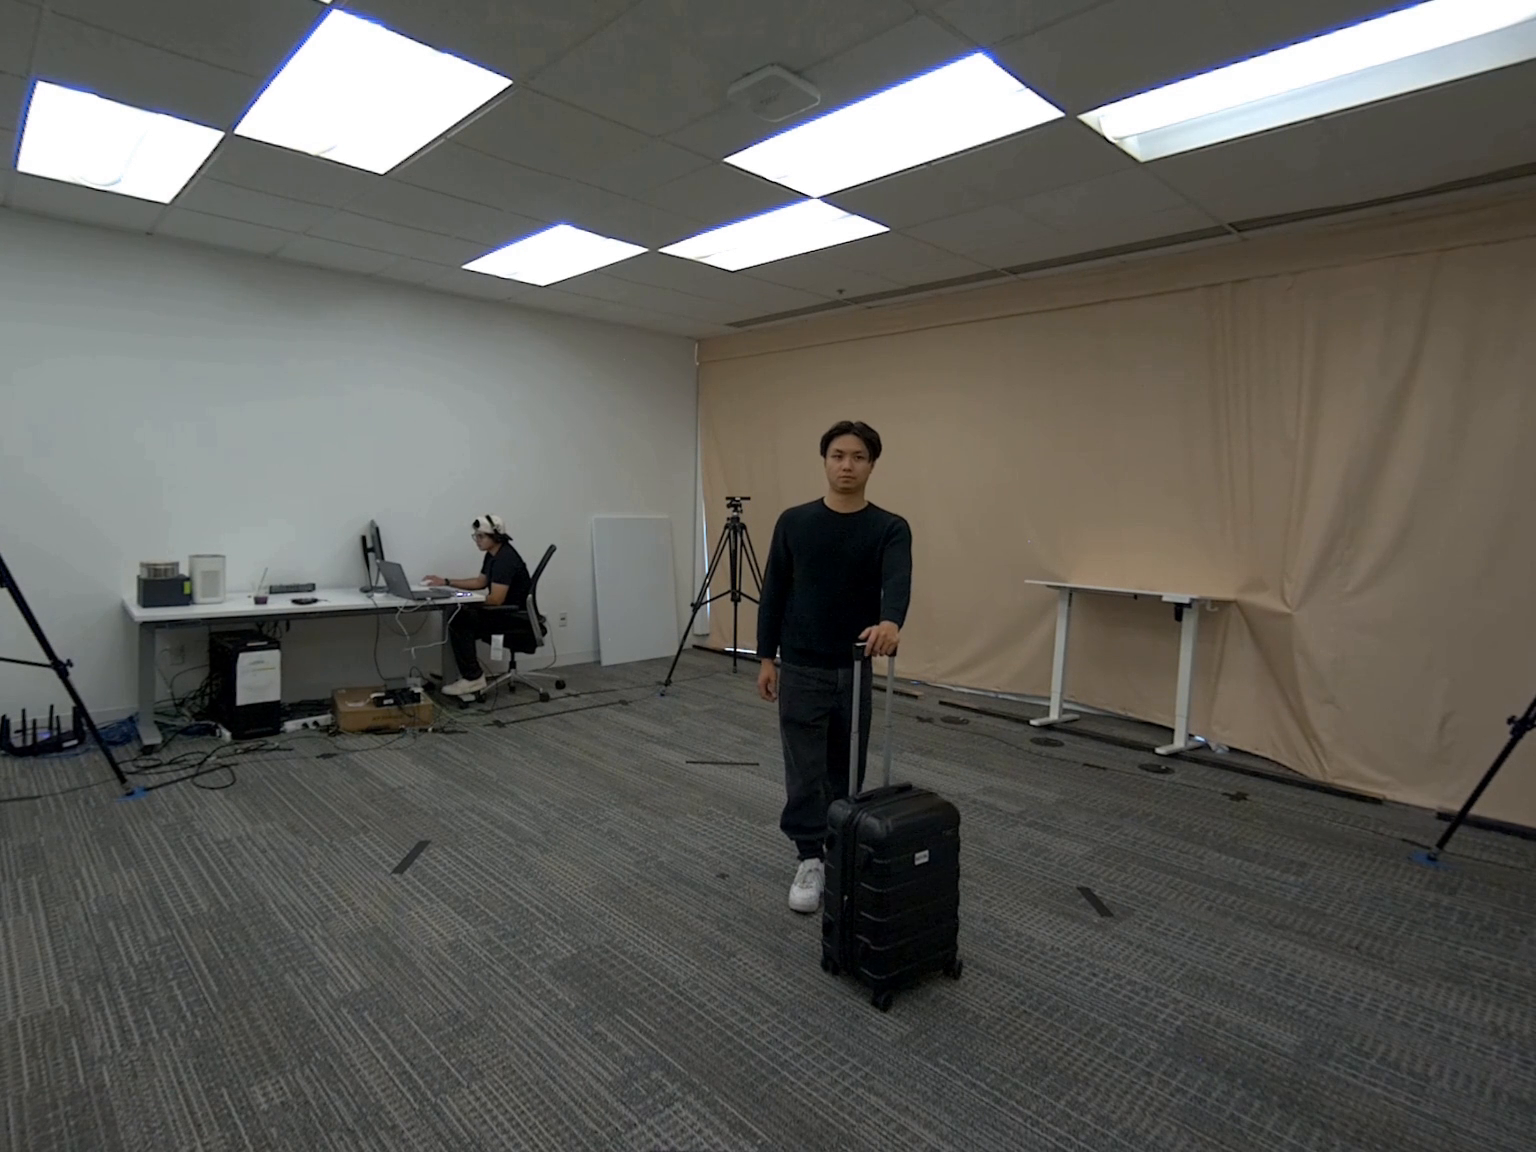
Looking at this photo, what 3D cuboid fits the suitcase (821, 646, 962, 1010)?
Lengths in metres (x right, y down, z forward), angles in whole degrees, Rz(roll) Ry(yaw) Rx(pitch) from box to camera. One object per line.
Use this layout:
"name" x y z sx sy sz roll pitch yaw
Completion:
"suitcase" 0.370 0.707 2.421 0.376 0.973 0.264 -3 9 -32
